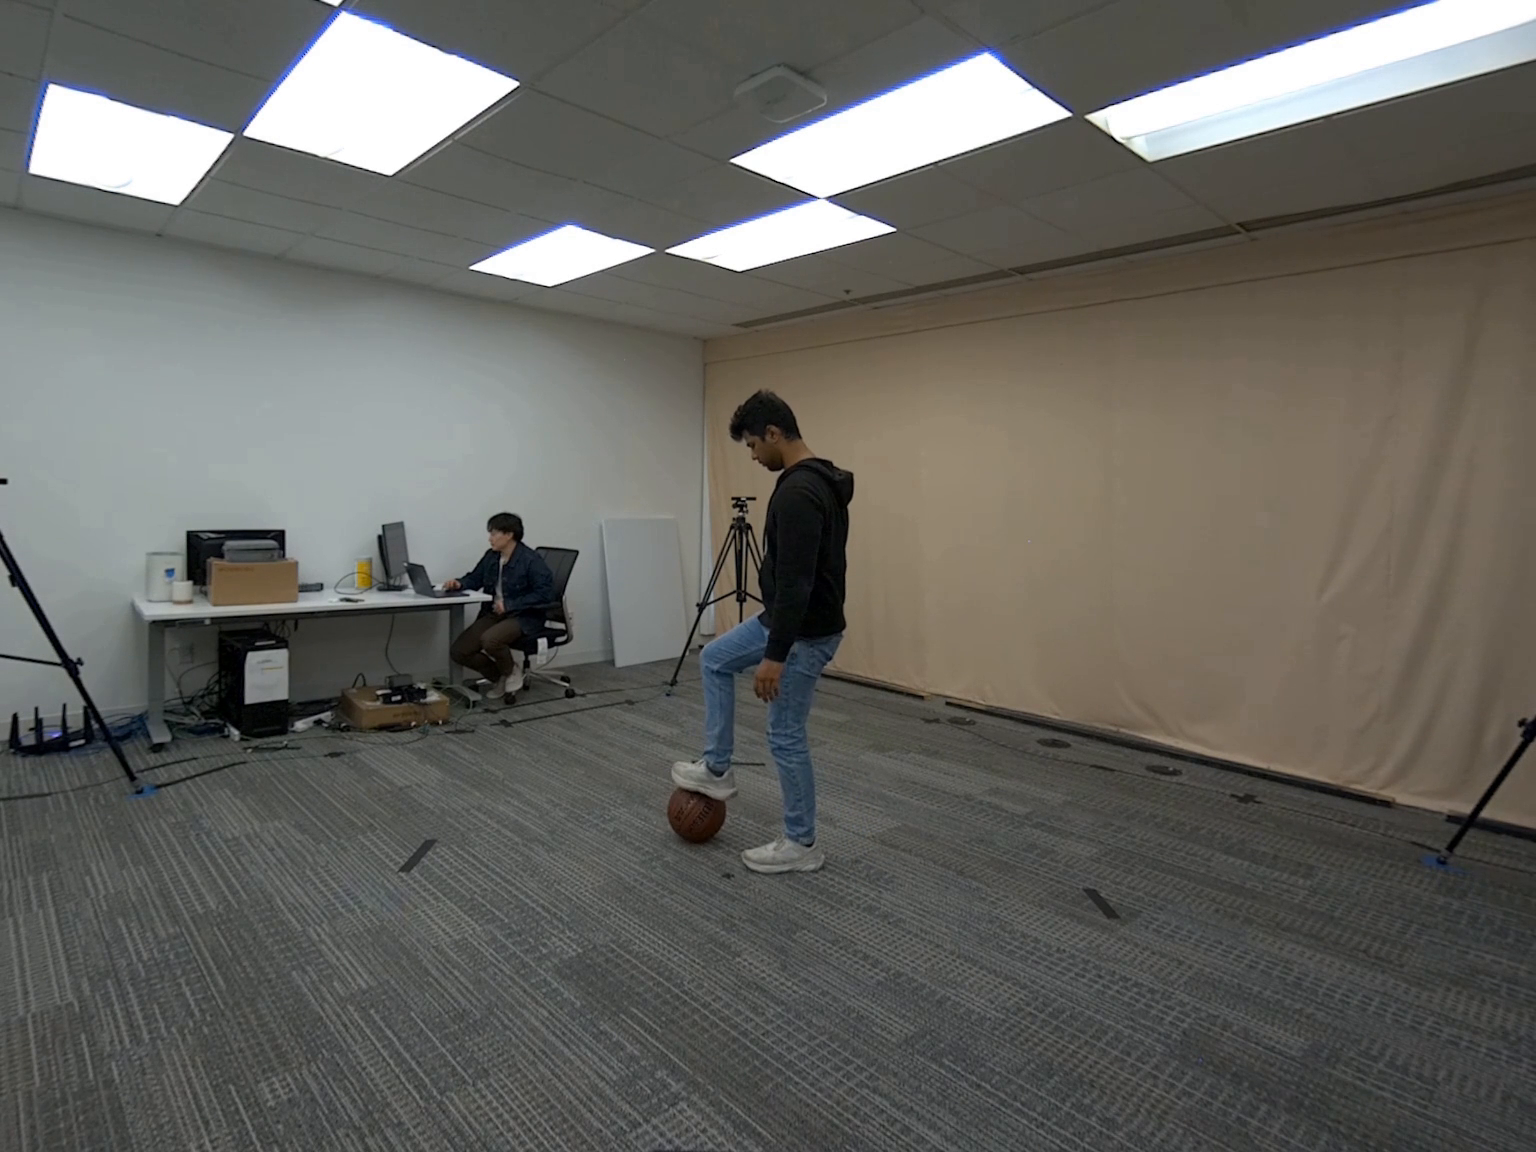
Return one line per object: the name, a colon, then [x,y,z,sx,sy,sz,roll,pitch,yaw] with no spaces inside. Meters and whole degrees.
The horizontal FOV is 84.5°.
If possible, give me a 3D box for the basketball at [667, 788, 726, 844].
basketball: [-0.300,0.951,3.436,0.236,0.235,0.237,1,4,-1]
